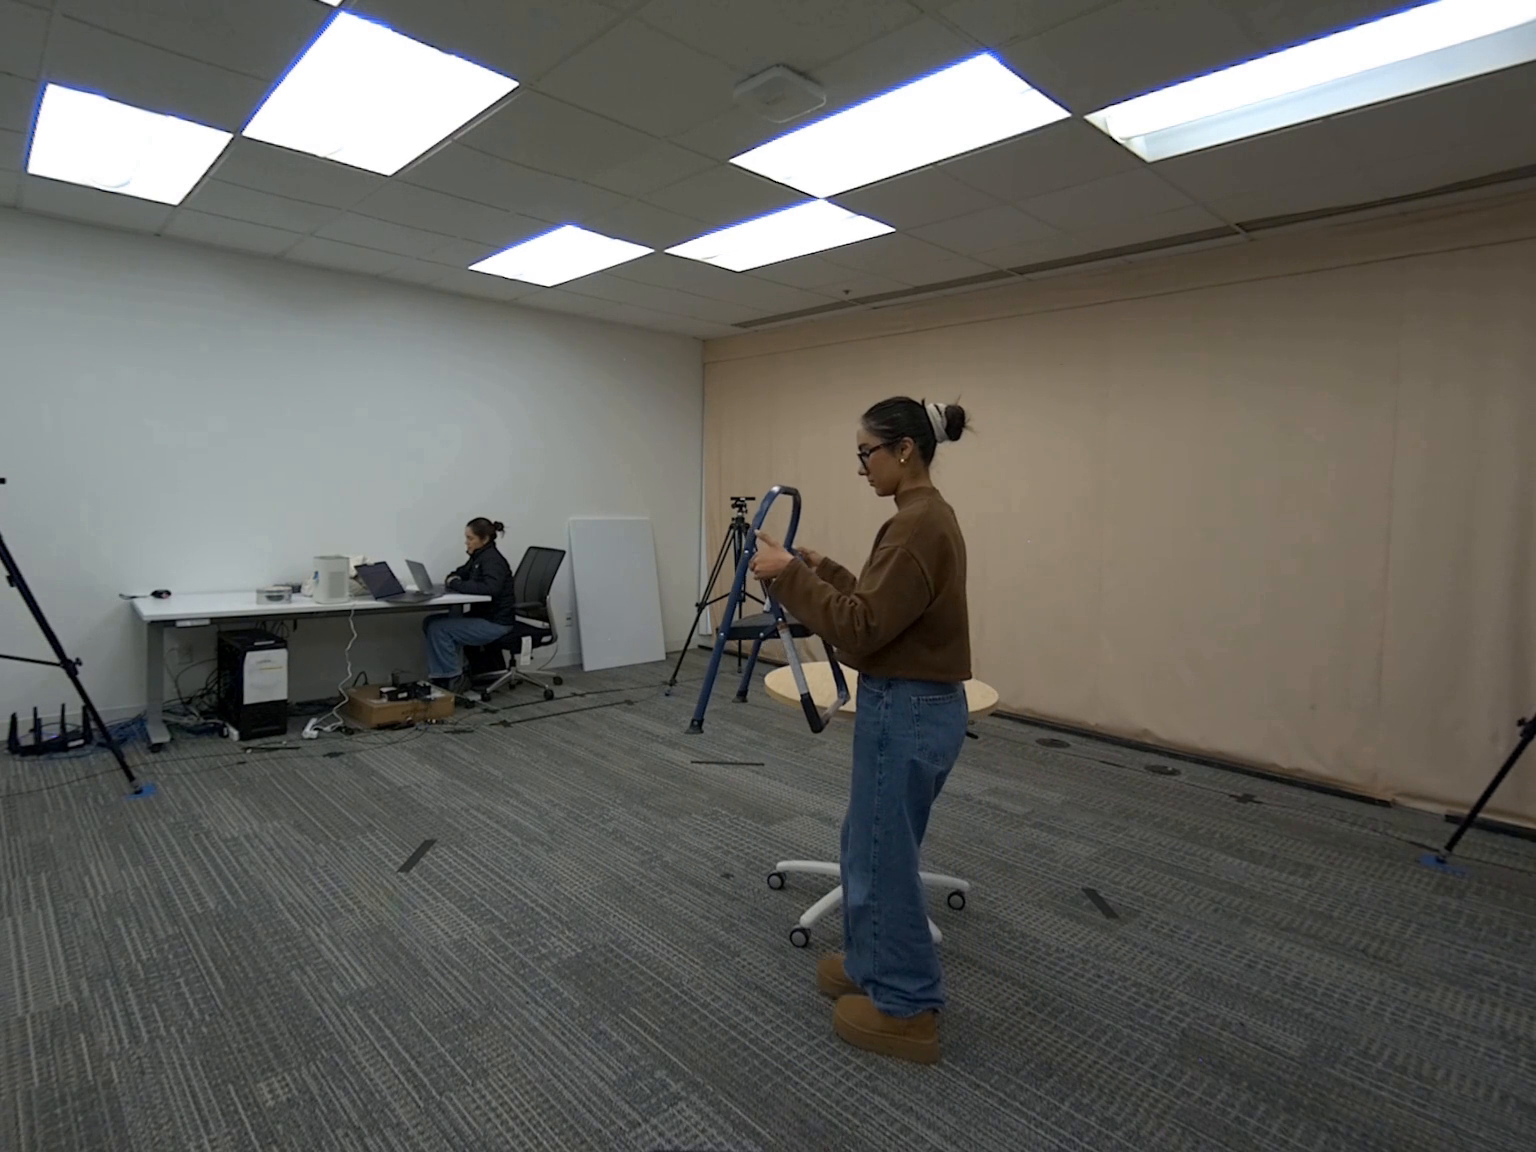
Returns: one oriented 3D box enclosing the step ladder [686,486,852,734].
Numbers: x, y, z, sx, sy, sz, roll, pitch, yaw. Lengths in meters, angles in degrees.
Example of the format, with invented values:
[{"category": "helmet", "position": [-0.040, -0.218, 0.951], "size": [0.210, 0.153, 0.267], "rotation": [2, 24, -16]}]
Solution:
[{"category": "step ladder", "position": [-0.002, 0.079, 2.243], "size": [0.353, 0.606, 0.426], "rotation": [-3, 0, 15]}]
